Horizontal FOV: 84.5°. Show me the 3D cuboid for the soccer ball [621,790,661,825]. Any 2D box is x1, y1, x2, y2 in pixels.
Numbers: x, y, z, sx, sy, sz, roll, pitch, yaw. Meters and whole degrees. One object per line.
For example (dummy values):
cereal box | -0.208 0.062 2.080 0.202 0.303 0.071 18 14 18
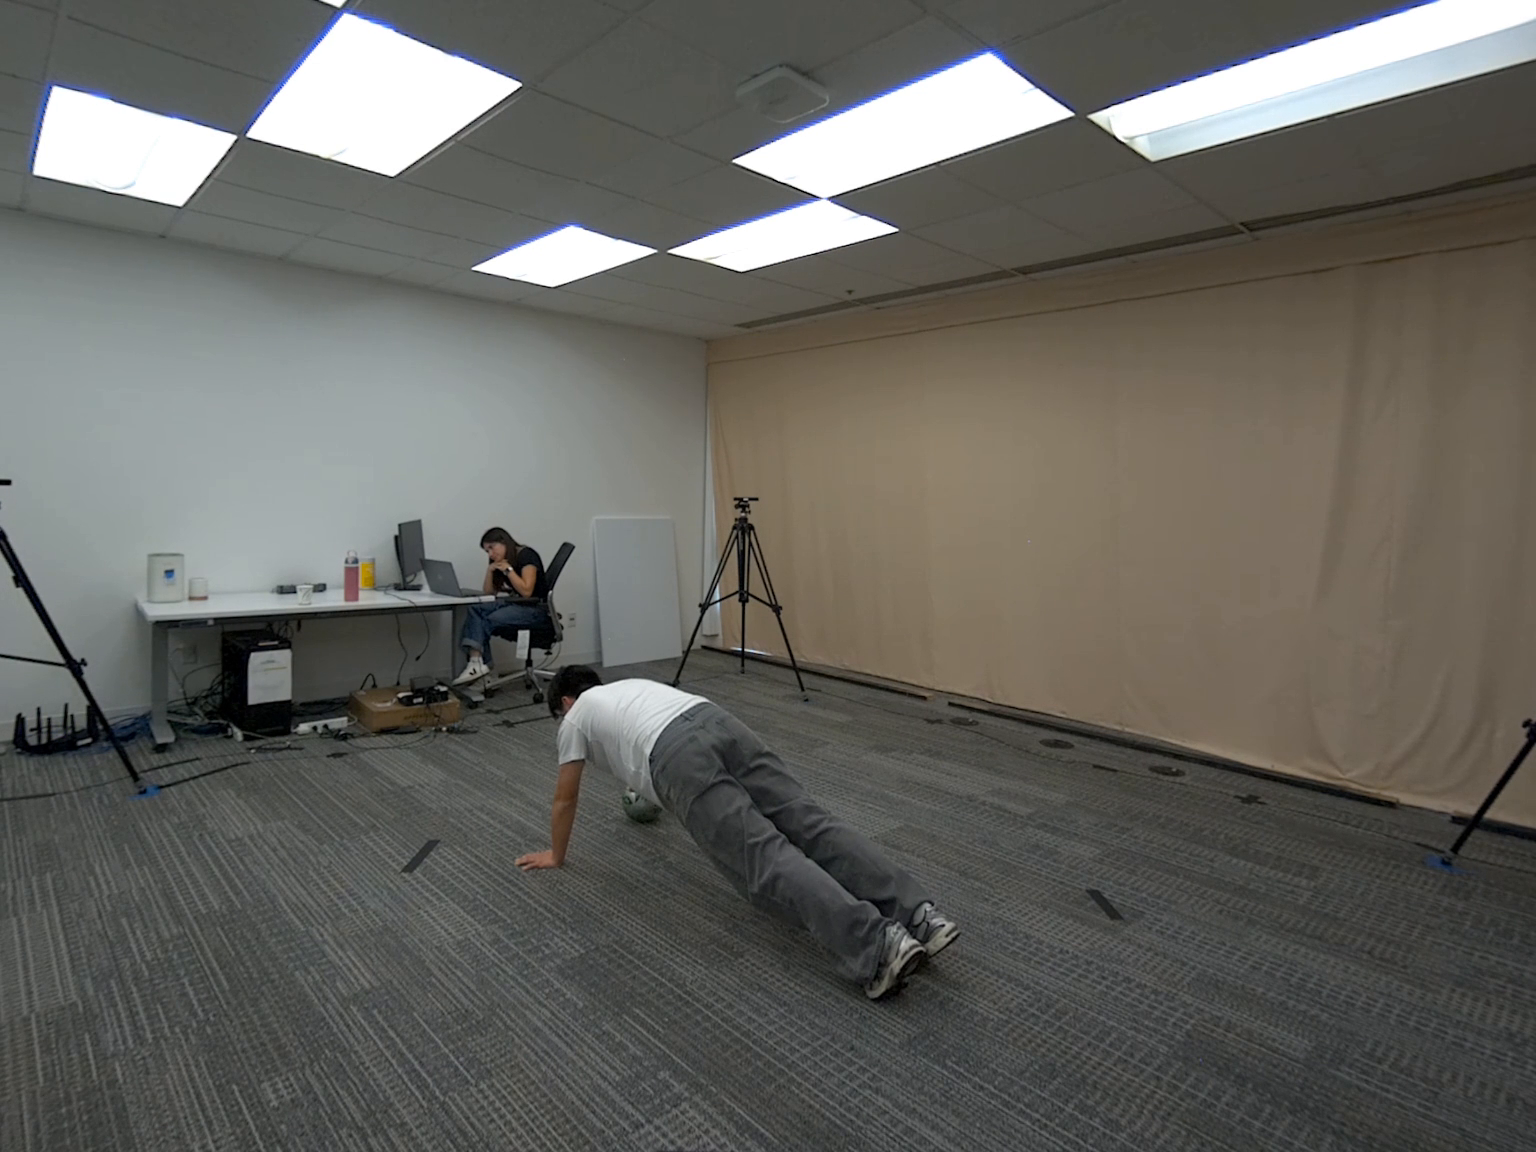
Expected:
soccer ball | -0.547 0.970 3.631 0.187 0.187 0.188 1 4 -1
